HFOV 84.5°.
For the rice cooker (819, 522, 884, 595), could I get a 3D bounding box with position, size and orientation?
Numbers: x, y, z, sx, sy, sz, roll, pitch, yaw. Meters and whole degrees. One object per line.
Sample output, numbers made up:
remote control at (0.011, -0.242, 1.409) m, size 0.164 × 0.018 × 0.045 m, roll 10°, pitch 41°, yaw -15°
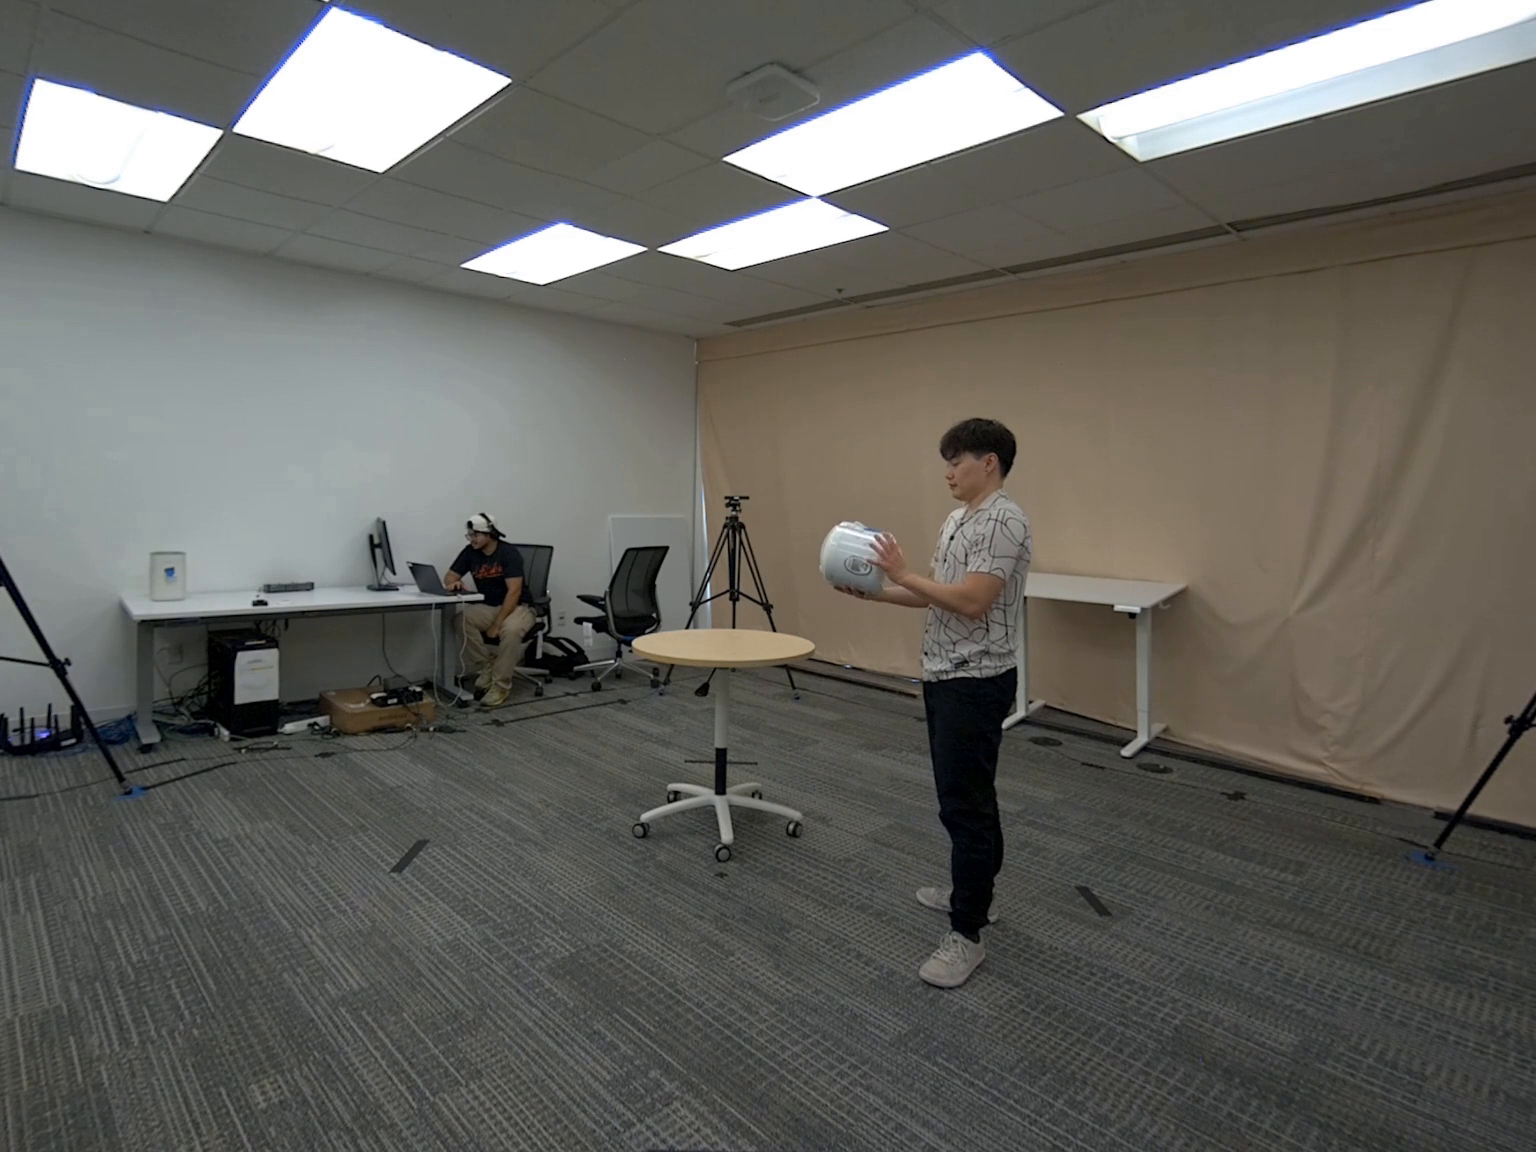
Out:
rice cooker at (0.283, -0.061, 2.812) m, size 0.236 × 0.219 × 0.216 m, roll 13°, pitch 13°, yaw 15°
